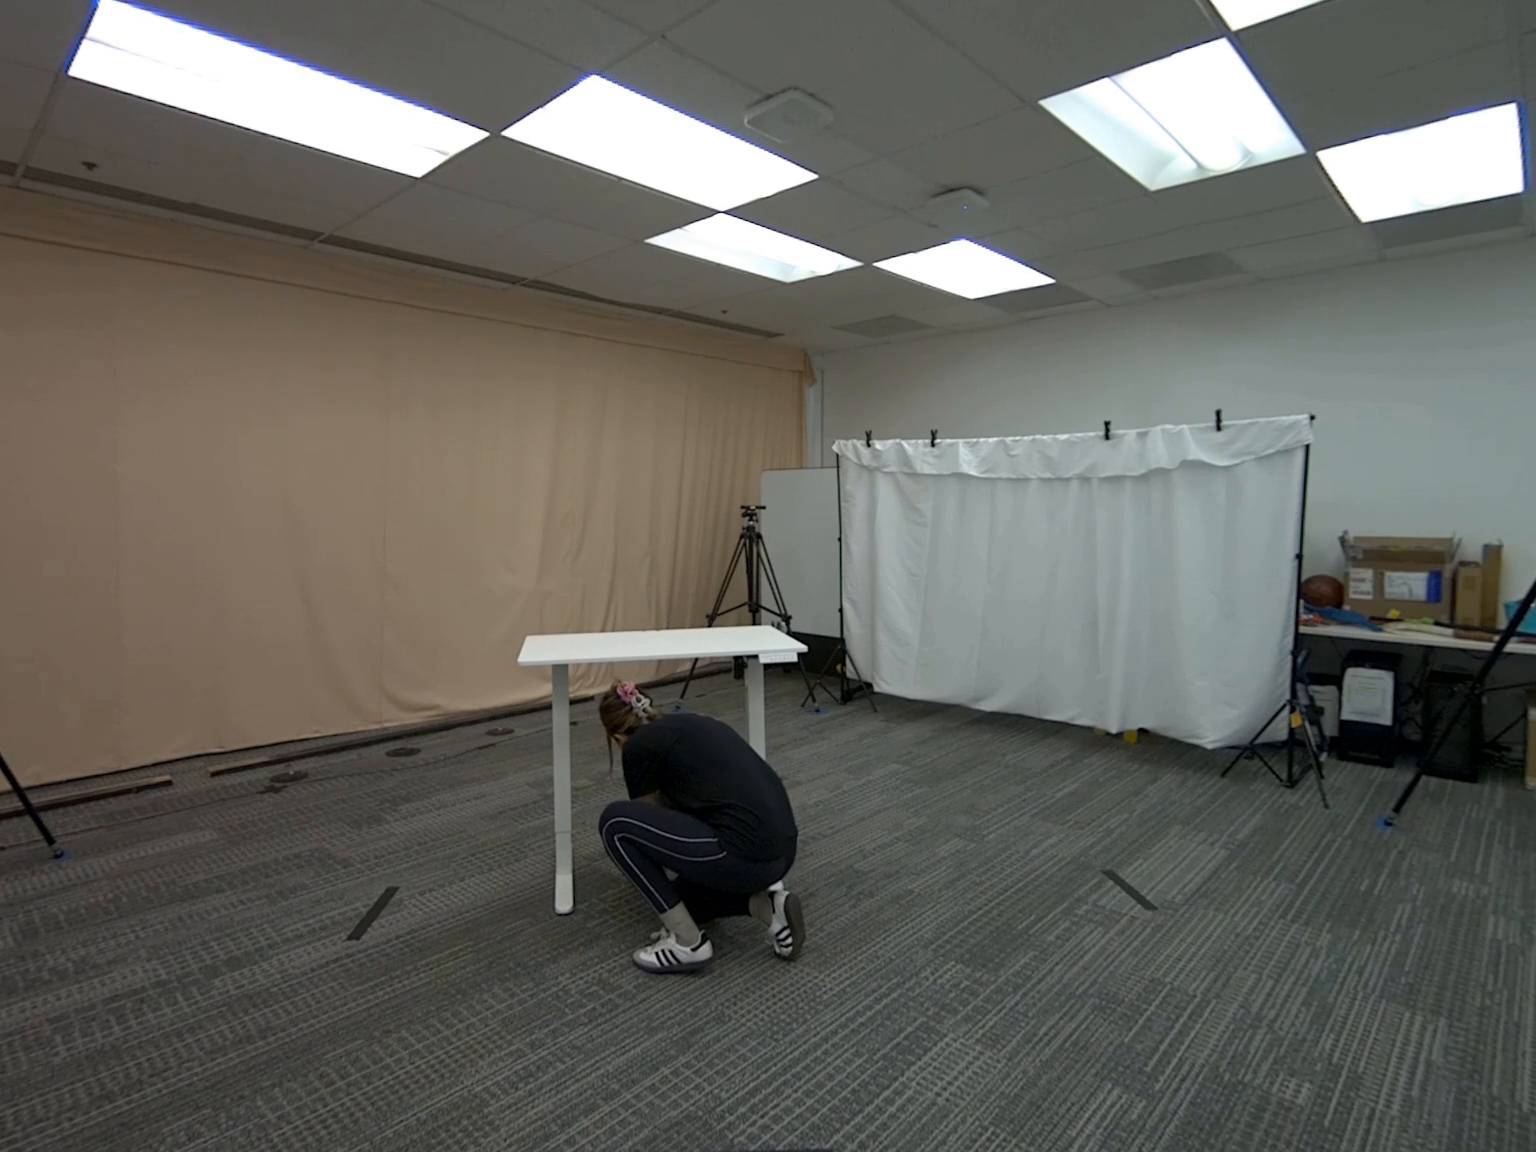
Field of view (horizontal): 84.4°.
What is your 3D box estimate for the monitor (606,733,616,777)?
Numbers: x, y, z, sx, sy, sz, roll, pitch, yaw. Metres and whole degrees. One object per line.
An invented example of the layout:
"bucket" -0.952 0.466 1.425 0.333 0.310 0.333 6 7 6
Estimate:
"monitor" -0.369 0.802 3.108 0.557 0.523 0.181 2 0 42
